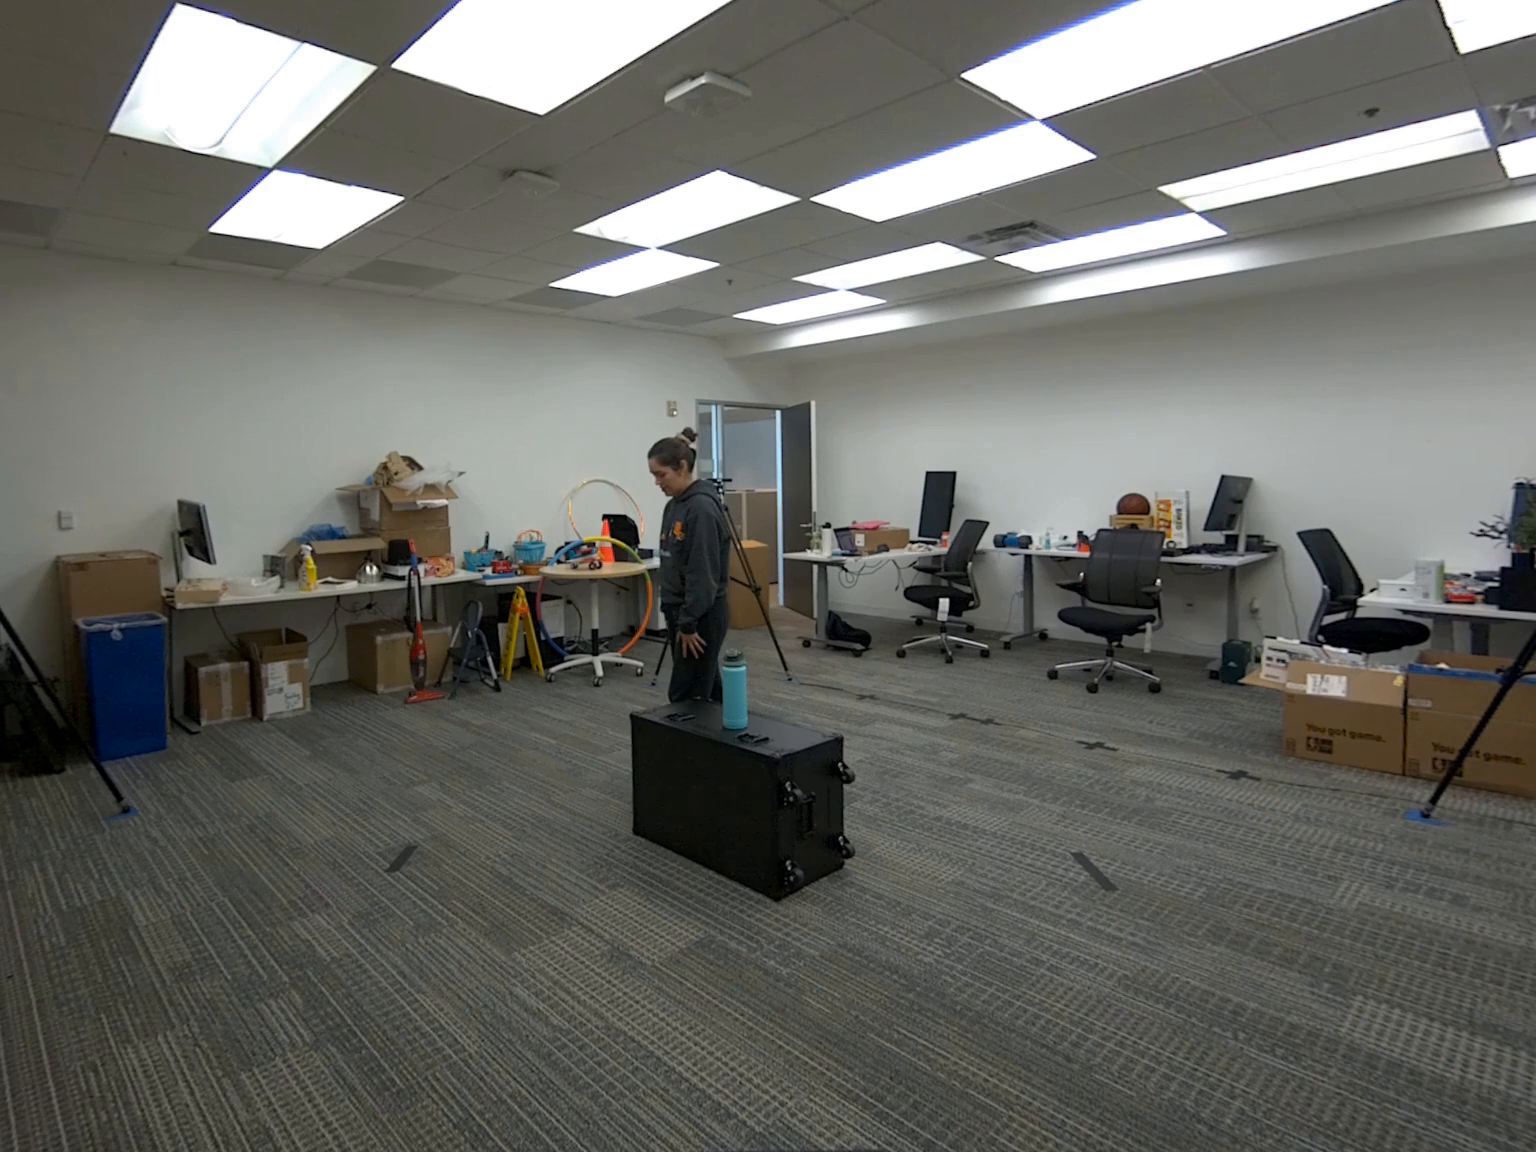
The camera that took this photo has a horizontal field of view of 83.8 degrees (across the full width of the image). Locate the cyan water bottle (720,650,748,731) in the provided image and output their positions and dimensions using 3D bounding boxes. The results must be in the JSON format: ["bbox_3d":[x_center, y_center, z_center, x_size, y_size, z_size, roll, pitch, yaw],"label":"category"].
[{"bbox_3d":[-0.121,0.417,3.159,0.092,0.283,0.092,-1,1,-2],"label":"cyan water bottle"}]
